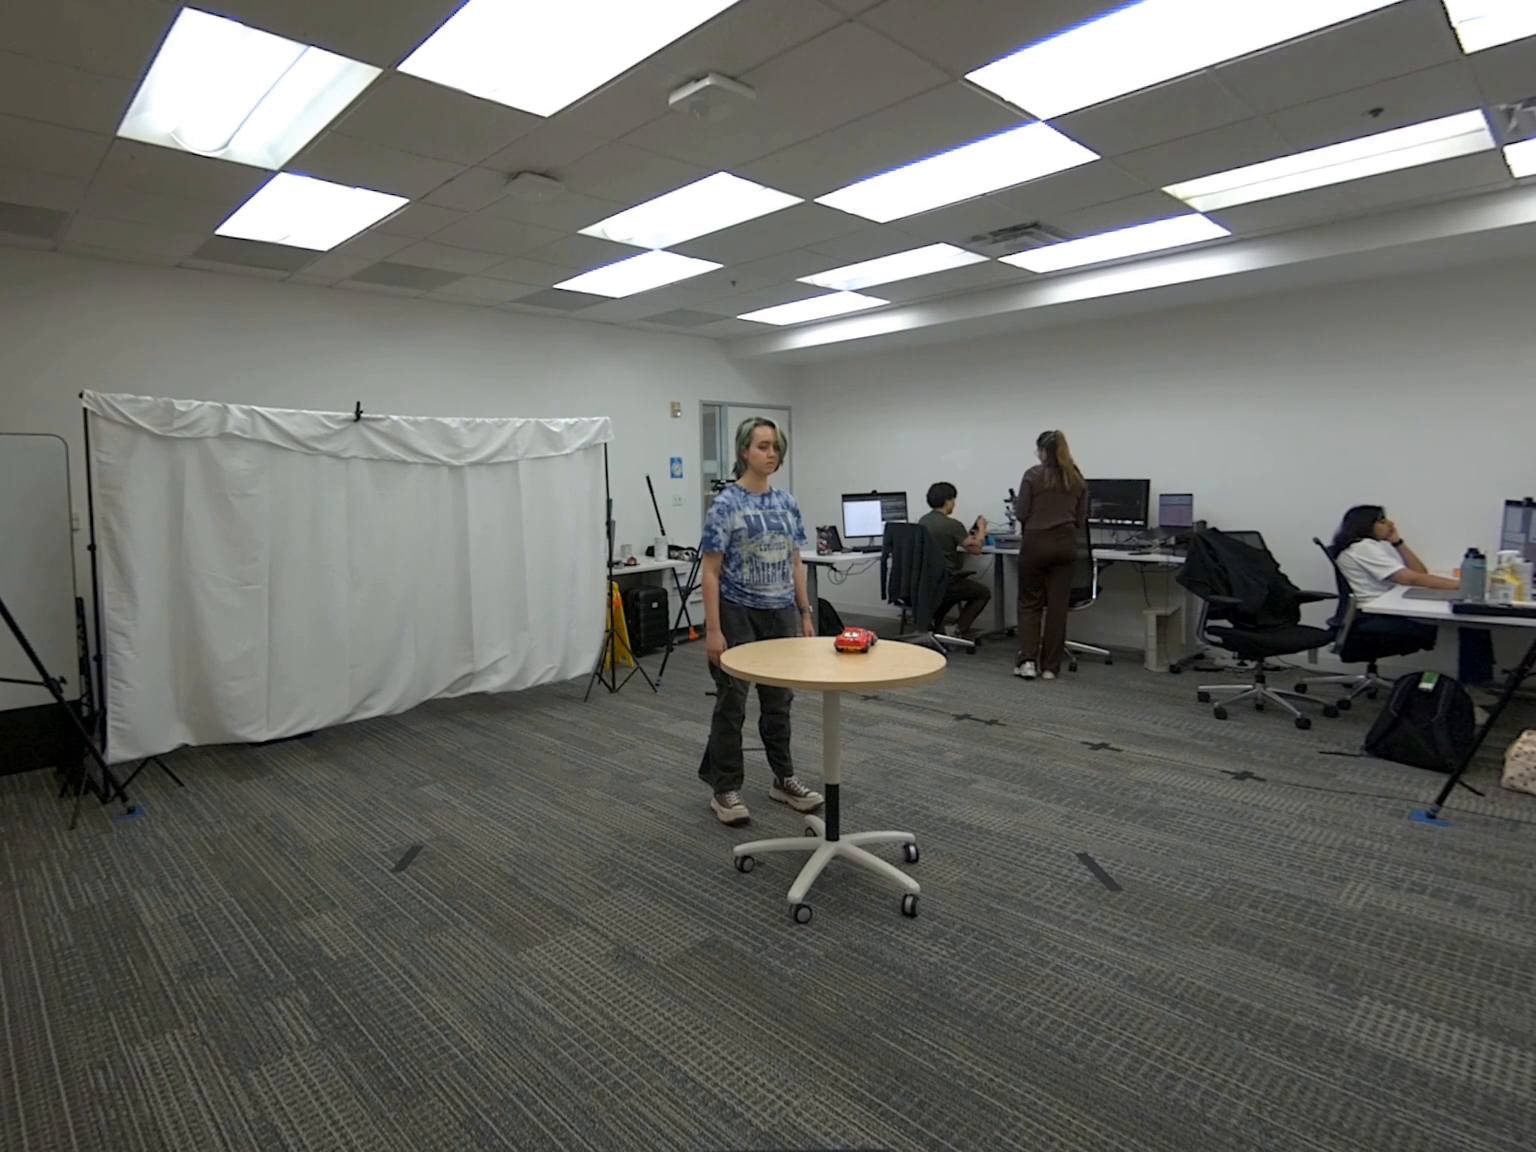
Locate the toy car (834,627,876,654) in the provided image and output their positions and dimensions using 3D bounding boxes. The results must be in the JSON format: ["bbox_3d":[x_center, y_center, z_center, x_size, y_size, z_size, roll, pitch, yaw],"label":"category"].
[{"bbox_3d":[0.318,0.232,3.066,0.132,0.084,0.249,1,-5,17],"label":"toy car"}]
